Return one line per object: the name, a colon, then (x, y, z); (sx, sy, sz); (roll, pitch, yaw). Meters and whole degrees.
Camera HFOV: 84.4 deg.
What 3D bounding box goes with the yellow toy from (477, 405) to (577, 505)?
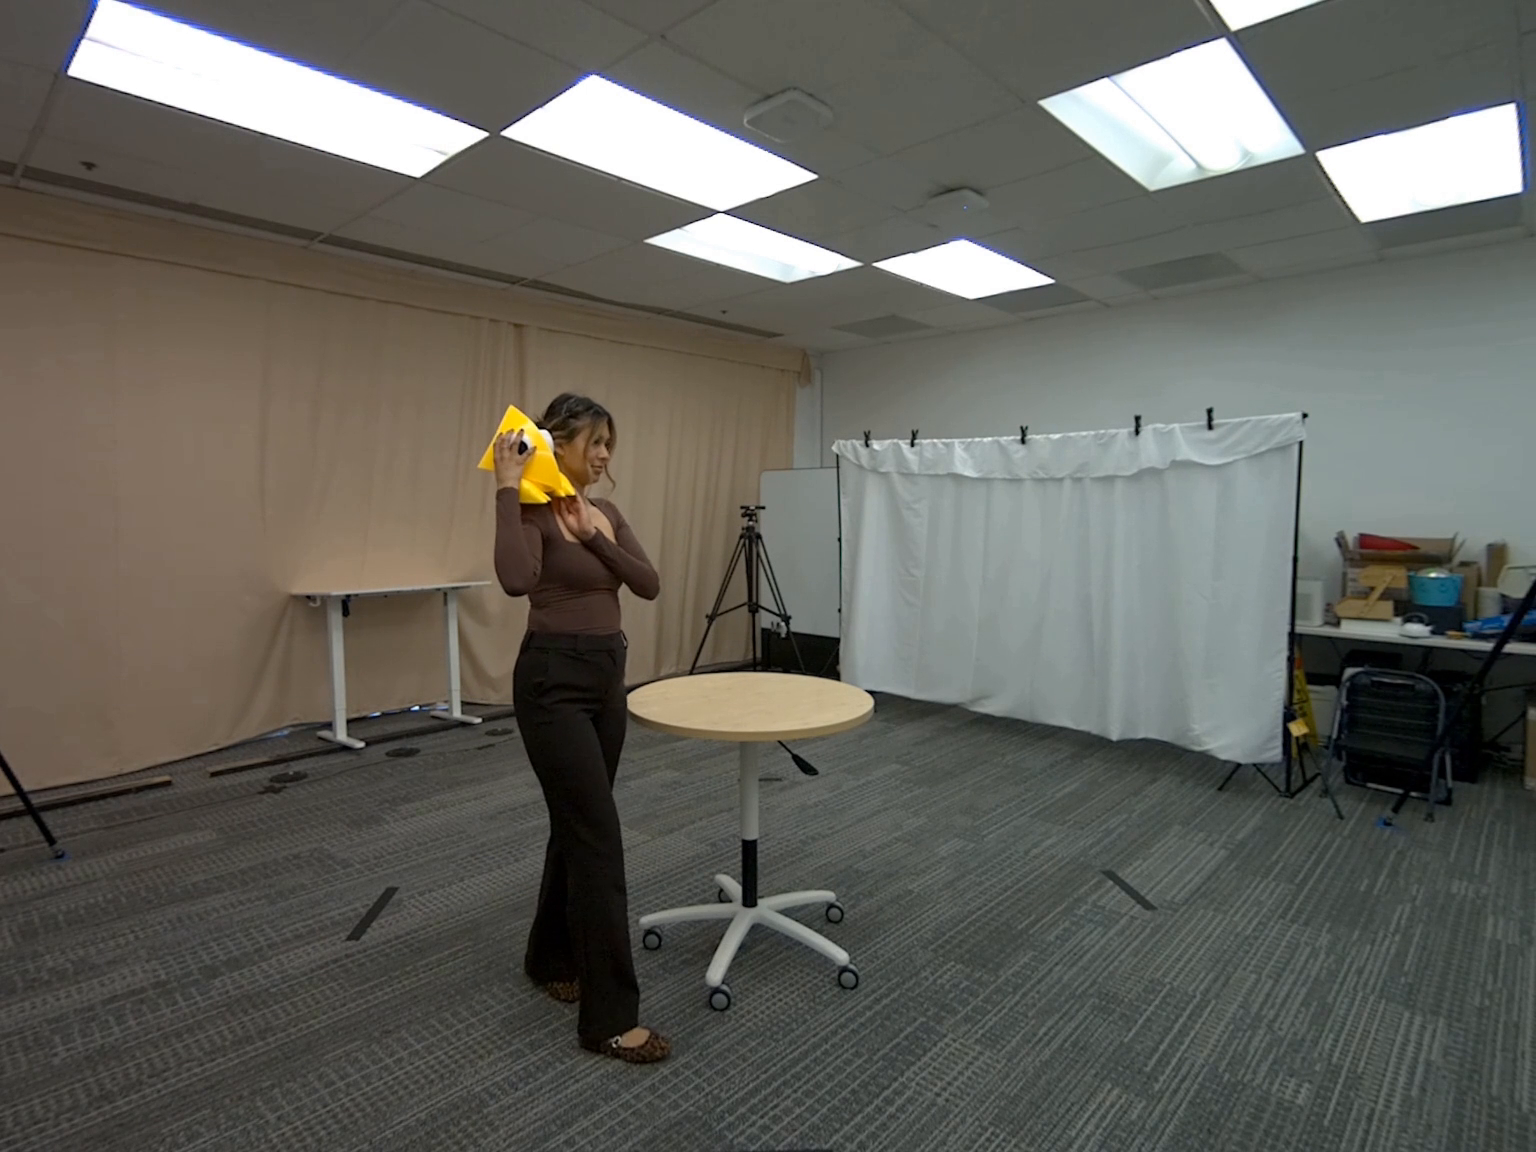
yellow toy: (-0.612, -0.321, 2.175); (0.198, 0.229, 0.201); (9, 16, 21)
